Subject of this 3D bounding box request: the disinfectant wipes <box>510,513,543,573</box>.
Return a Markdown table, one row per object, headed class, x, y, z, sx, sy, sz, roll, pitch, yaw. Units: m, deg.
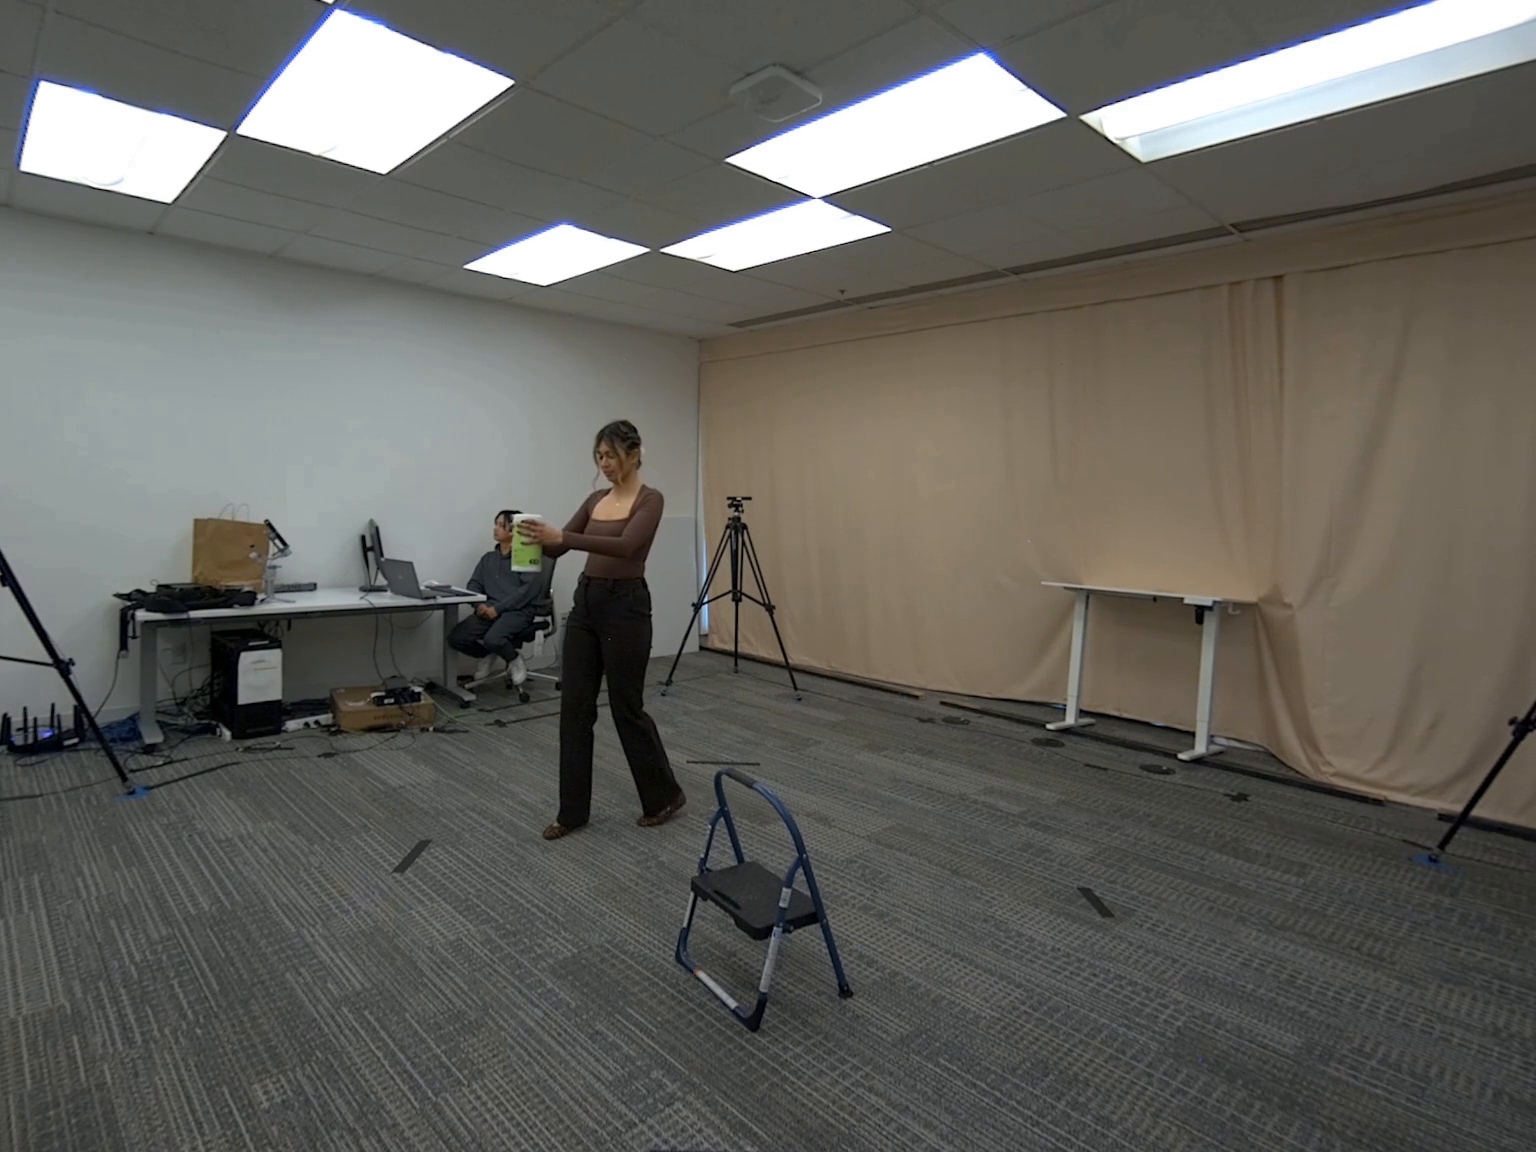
| class | x | y | z | sx | sy | sz | roll | pitch | yaw |
| --- | --- | --- | --- | --- | --- | --- | --- | --- | --- |
| disinfectant wipes | -0.910 | -0.122 | 3.175 | 0.118 | 0.217 | 0.118 | 3 | 1 | -1 |
